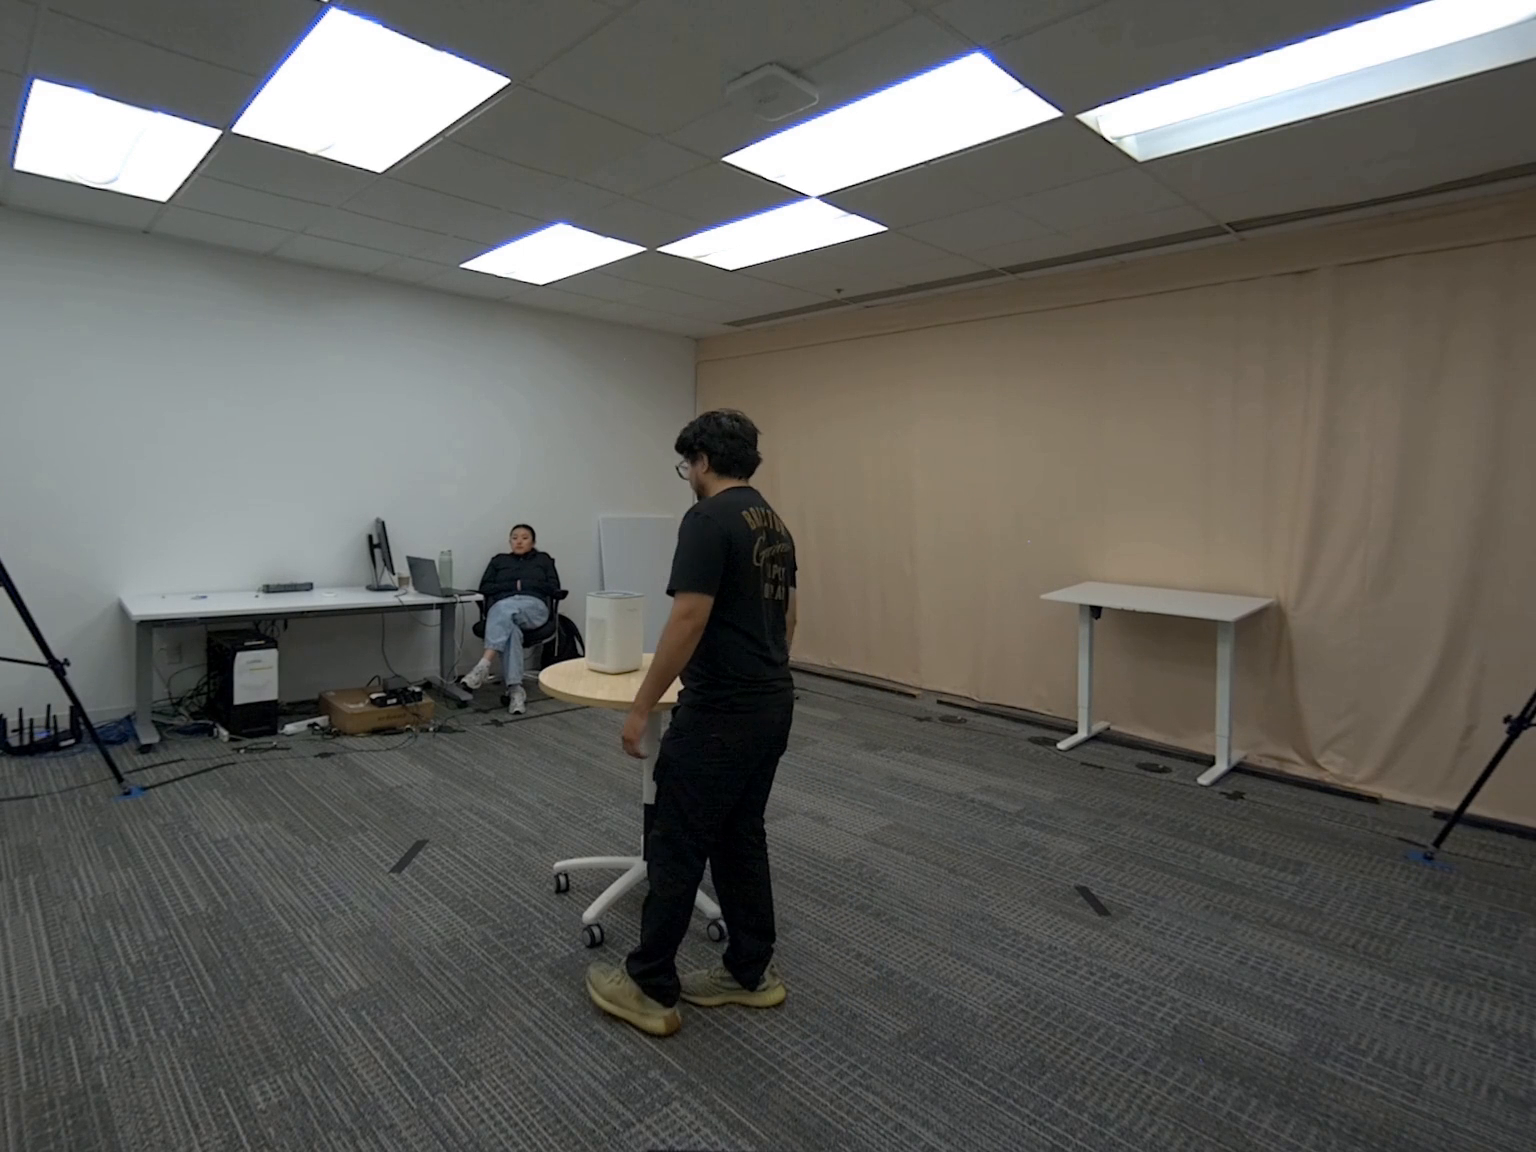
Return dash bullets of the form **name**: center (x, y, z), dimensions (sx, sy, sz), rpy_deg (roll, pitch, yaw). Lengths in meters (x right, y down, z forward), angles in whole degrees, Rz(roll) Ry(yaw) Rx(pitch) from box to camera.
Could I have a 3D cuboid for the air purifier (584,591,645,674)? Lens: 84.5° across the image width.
- **air purifier**: center (-0.537, 0.194, 2.914), dimensions (0.176, 0.265, 0.167), rpy_deg (5, 4, 34)
